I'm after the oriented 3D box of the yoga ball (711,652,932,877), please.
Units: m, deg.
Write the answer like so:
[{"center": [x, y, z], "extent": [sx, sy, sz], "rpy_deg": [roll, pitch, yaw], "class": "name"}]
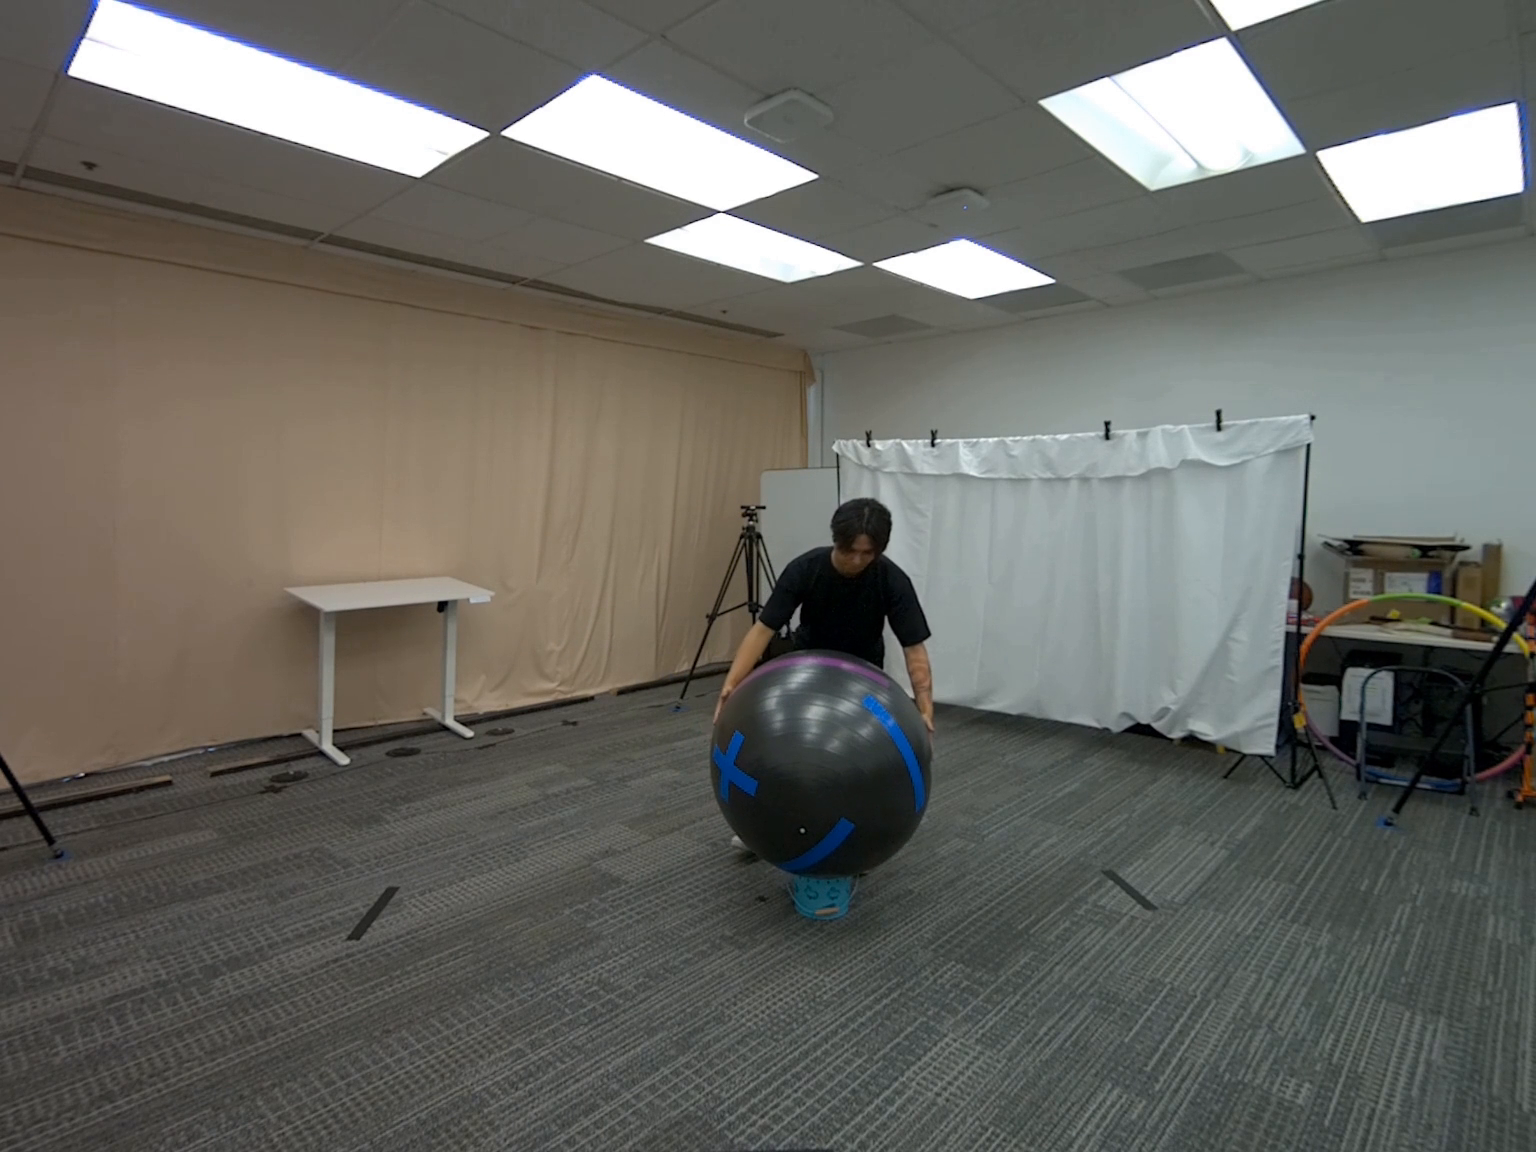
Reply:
[{"center": [0.179, 0.638, 2.902], "extent": [0.757, 0.756, 0.761], "rpy_deg": [0, 4, -2], "class": "yoga ball"}]
